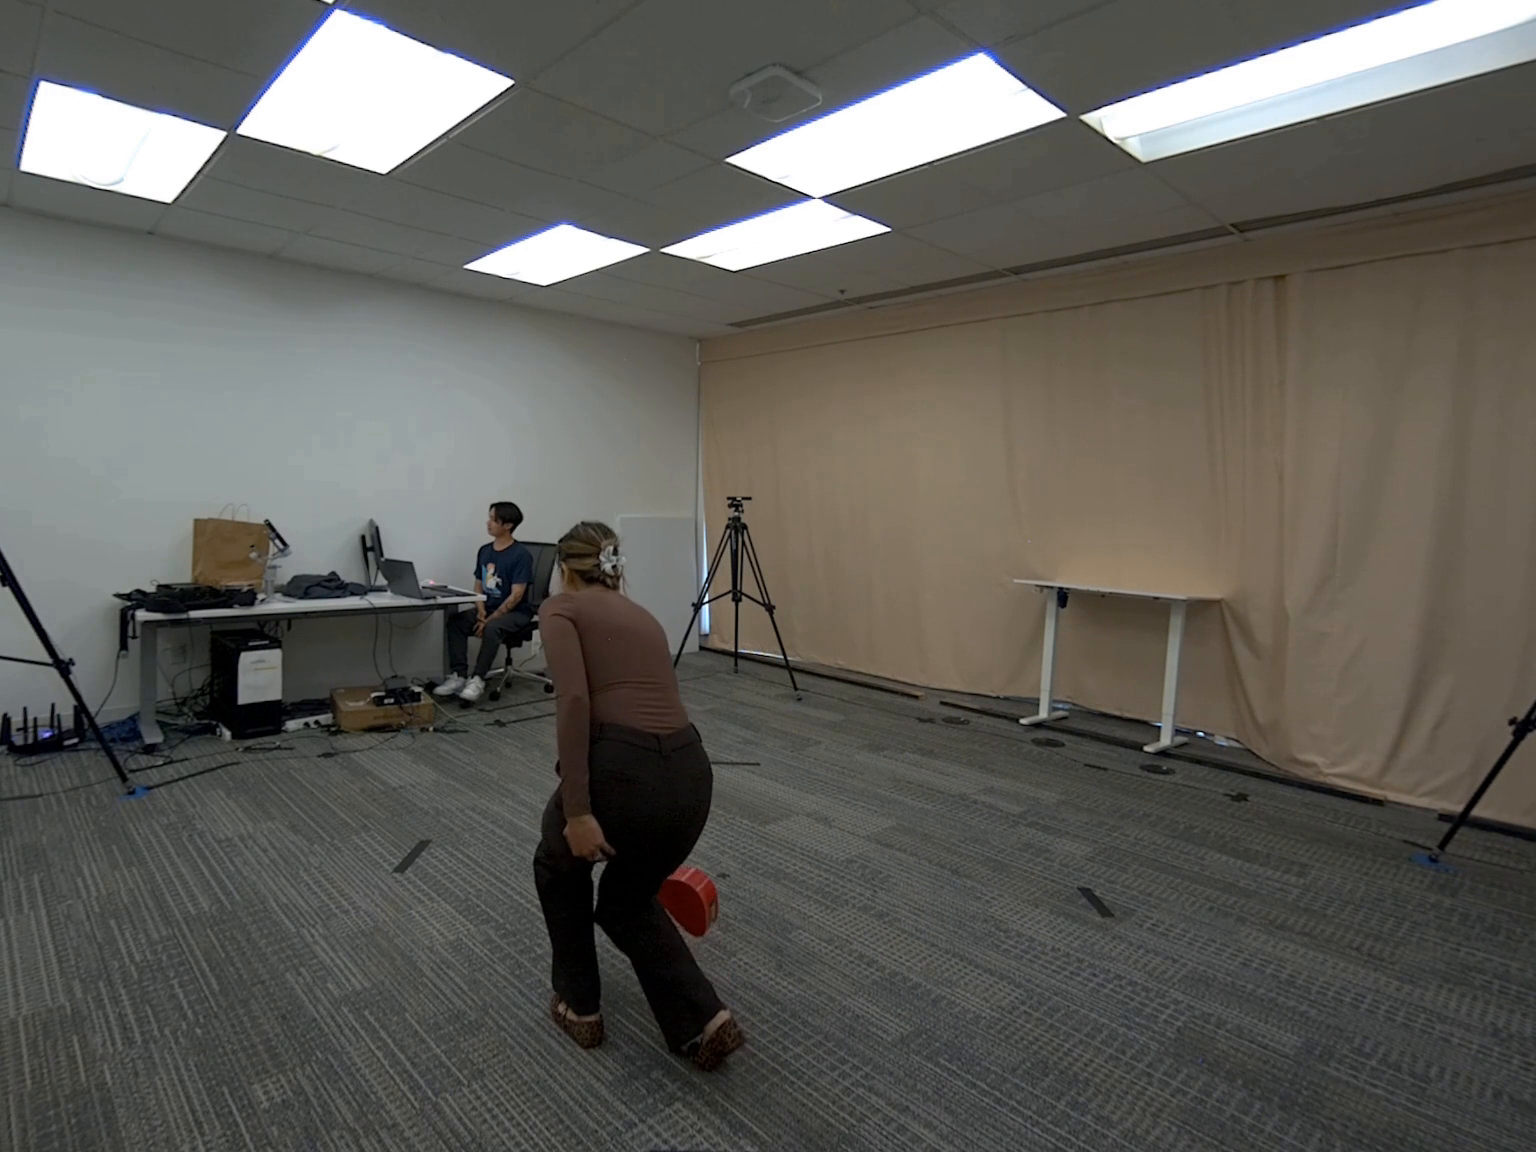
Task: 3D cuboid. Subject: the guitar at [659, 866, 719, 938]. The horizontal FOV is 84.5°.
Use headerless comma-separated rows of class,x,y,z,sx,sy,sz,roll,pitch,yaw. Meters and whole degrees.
guitar,-0.357,0.893,2.466,0.511,0.190,0.070,8,24,37
